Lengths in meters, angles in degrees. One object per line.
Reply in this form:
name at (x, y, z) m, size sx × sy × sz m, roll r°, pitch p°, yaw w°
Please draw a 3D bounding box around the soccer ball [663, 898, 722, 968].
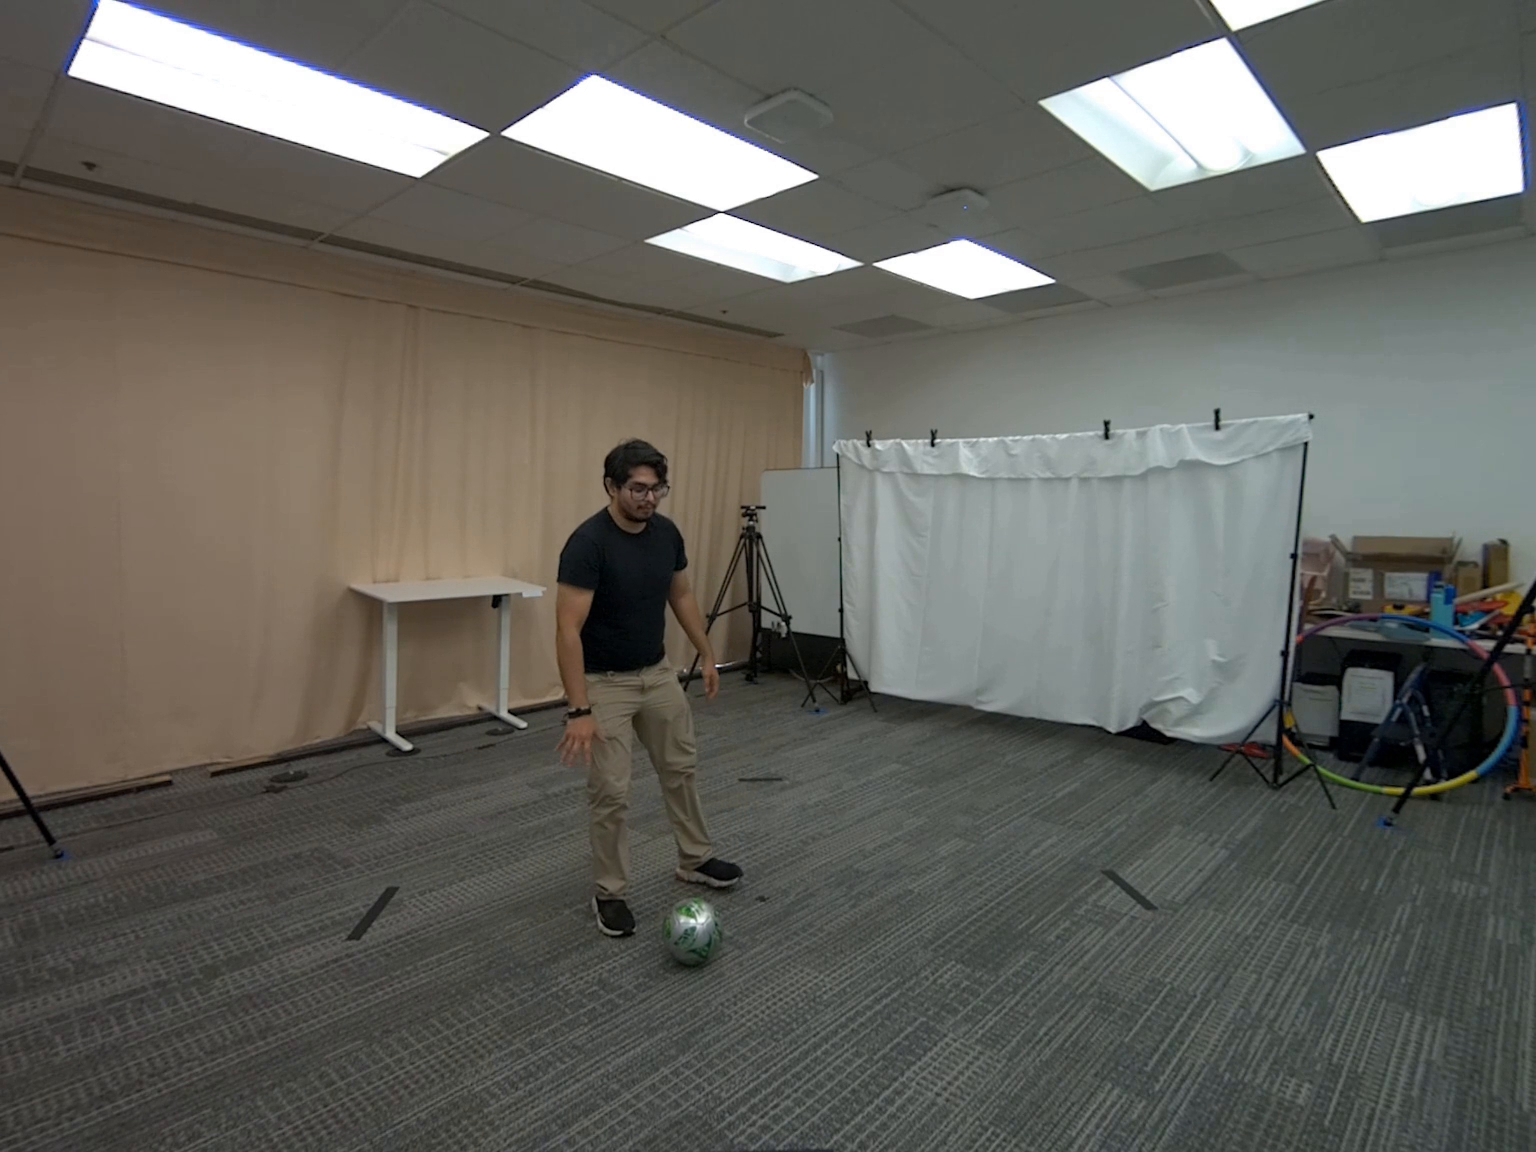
soccer ball at (-0.231, 1.088, 2.574) m, size 0.187 × 0.187 × 0.188 m, roll 0°, pitch 4°, yaw -2°
